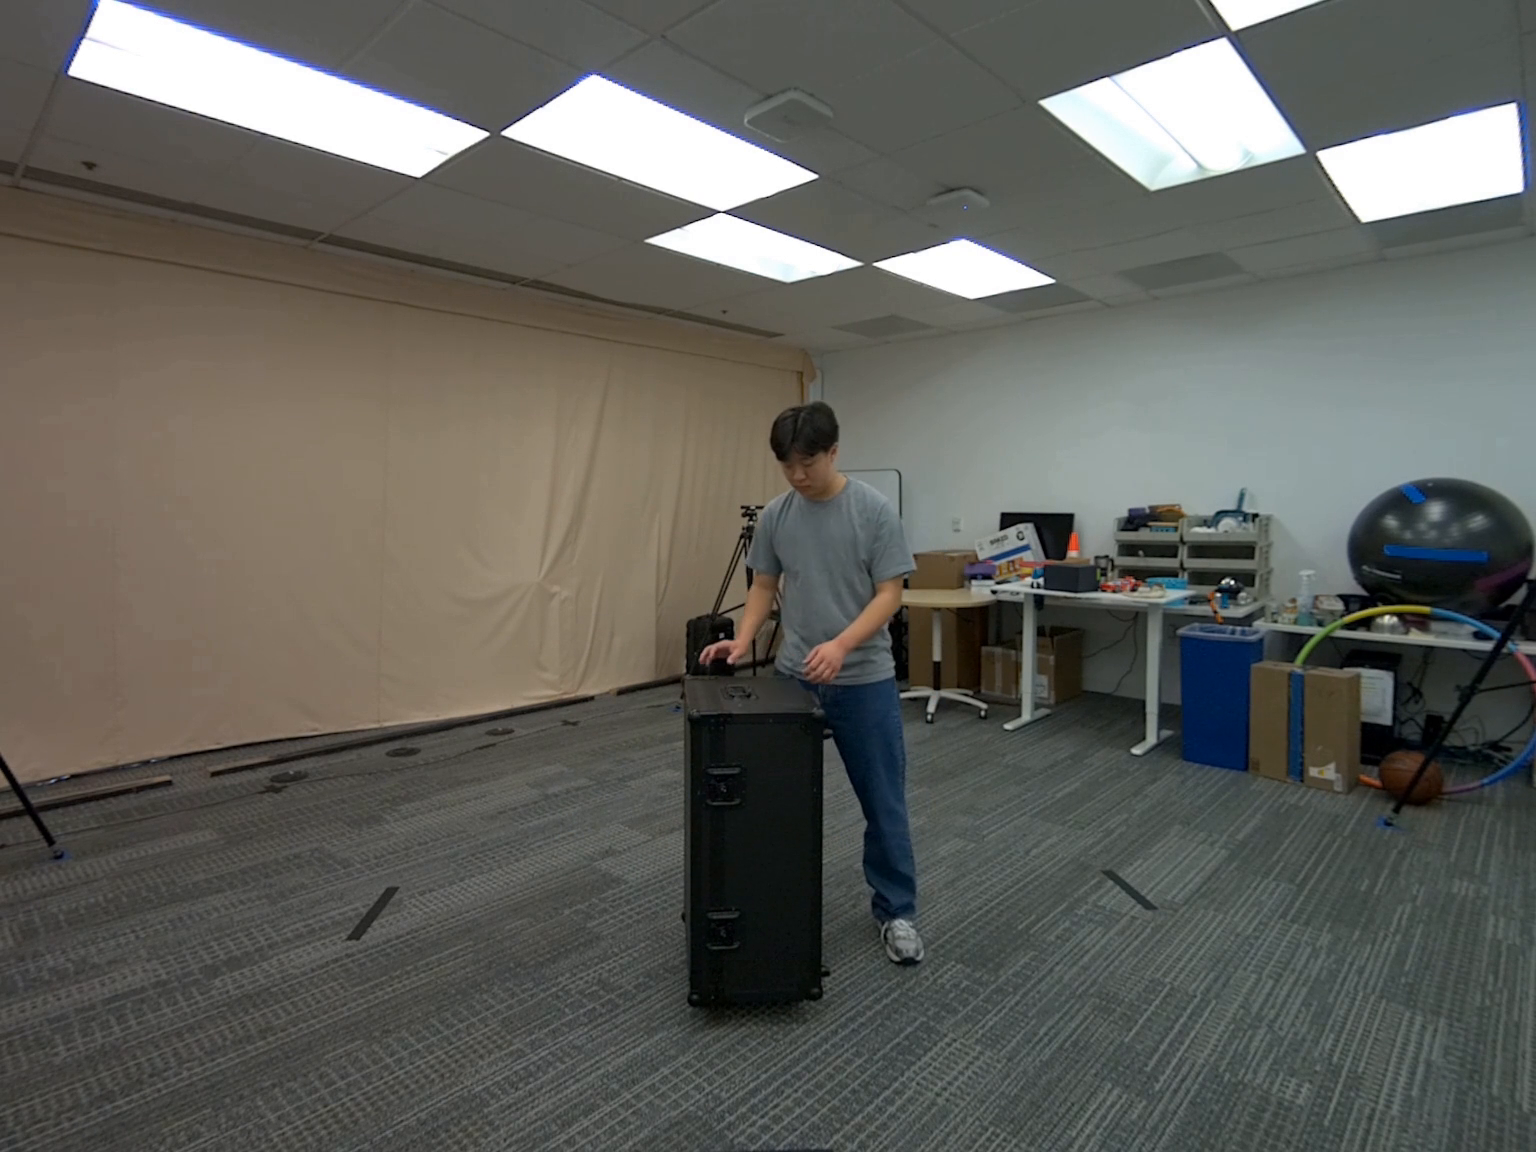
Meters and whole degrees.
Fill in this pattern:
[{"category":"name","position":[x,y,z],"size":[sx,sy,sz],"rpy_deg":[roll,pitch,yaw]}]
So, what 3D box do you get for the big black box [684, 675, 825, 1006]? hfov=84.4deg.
[{"category":"big black box","position":[-0.058,0.767,2.453],"size":[0.394,0.860,0.525],"rpy_deg":[0,3,-6]}]
